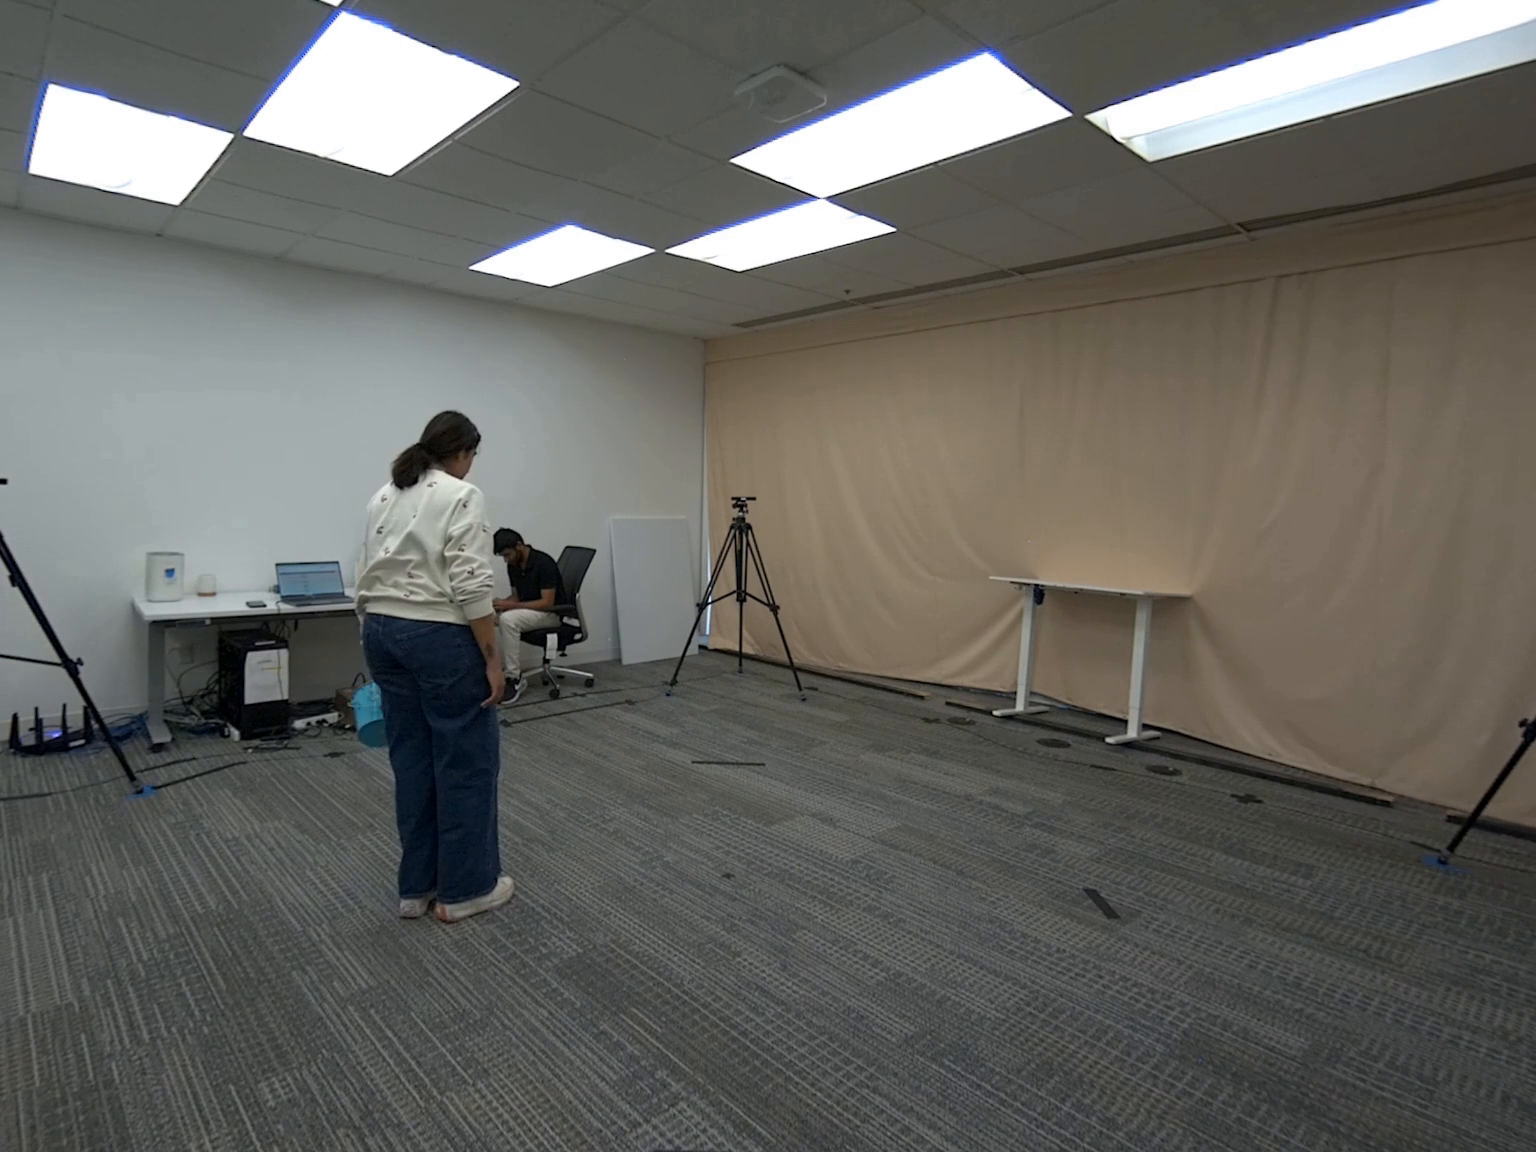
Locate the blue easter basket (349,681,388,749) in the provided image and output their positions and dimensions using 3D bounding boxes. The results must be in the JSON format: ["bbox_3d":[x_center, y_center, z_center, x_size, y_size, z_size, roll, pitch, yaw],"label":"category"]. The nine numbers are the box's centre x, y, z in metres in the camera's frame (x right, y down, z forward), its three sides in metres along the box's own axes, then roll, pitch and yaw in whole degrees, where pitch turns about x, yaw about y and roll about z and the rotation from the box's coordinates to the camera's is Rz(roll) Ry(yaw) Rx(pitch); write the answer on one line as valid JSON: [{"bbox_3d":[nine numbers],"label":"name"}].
[{"bbox_3d":[-1.386,0.505,3.027,0.239,0.240,0.160,0,46,-23],"label":"blue easter basket"}]
